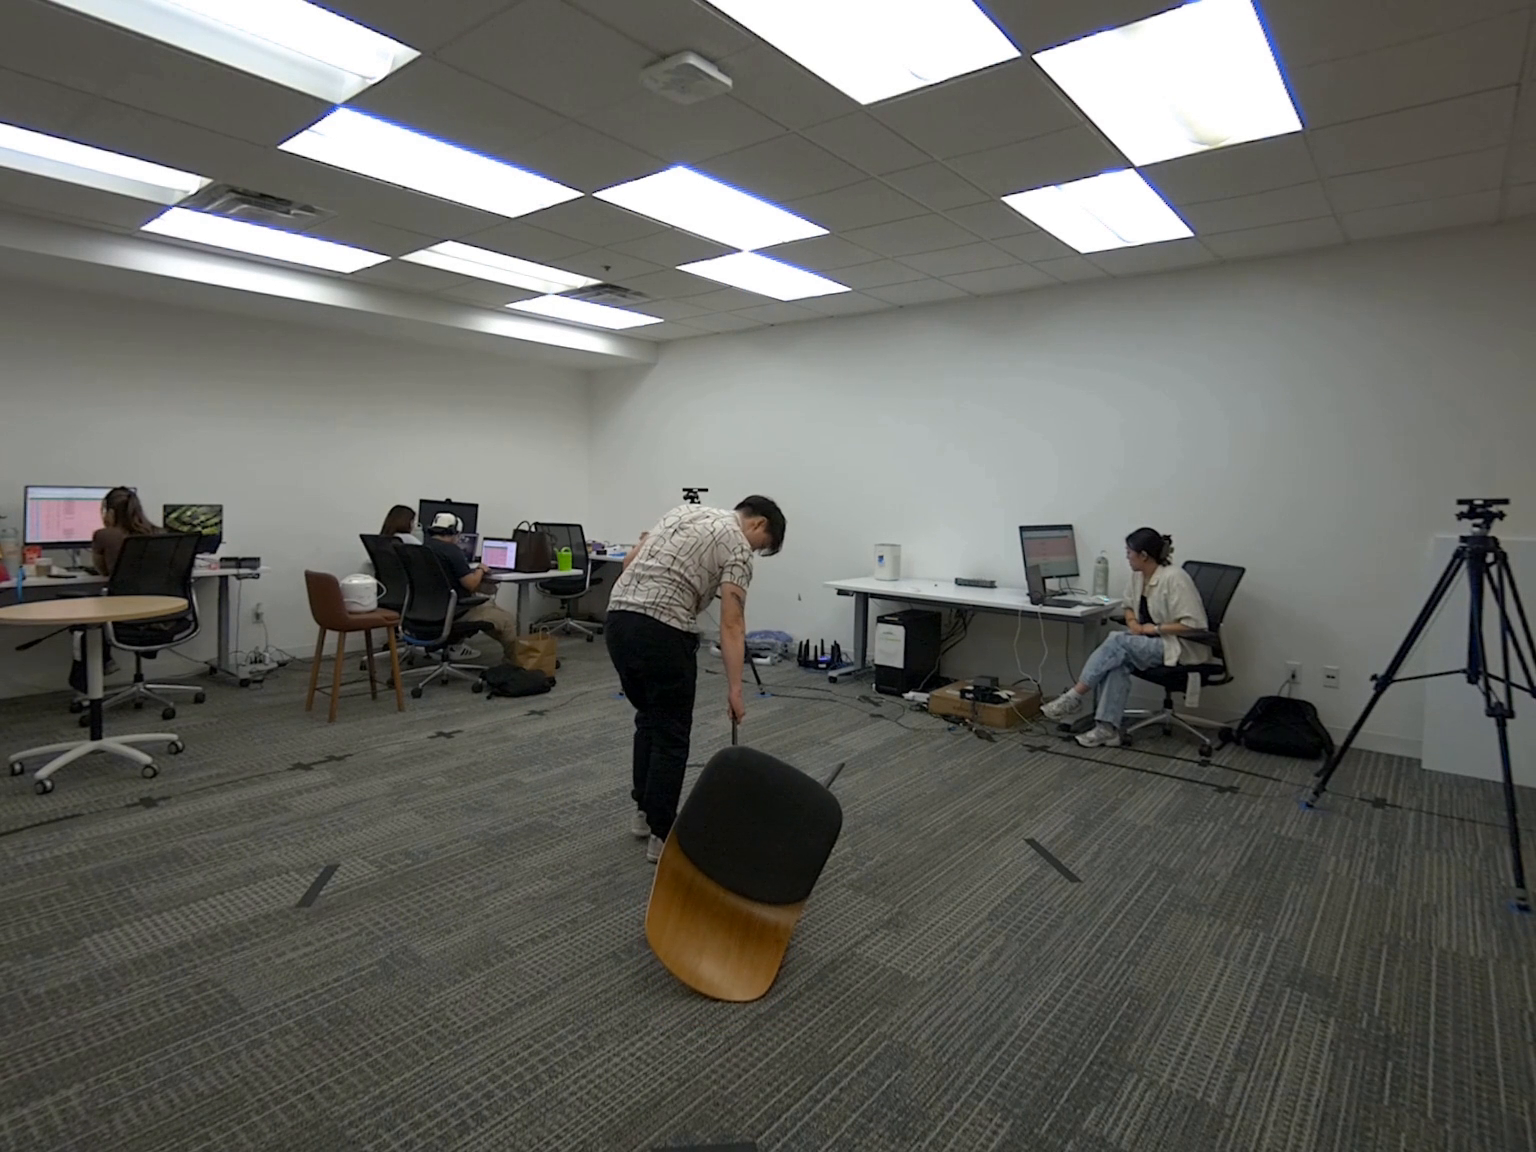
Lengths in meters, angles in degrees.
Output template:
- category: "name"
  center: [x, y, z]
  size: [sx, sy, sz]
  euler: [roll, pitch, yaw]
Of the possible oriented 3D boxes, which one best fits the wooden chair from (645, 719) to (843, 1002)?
- category: "wooden chair"
  center: [-0.048, 0.825, 2.681]
  size: [0.480, 0.520, 0.878]
  euler: [26, 12, 1]
